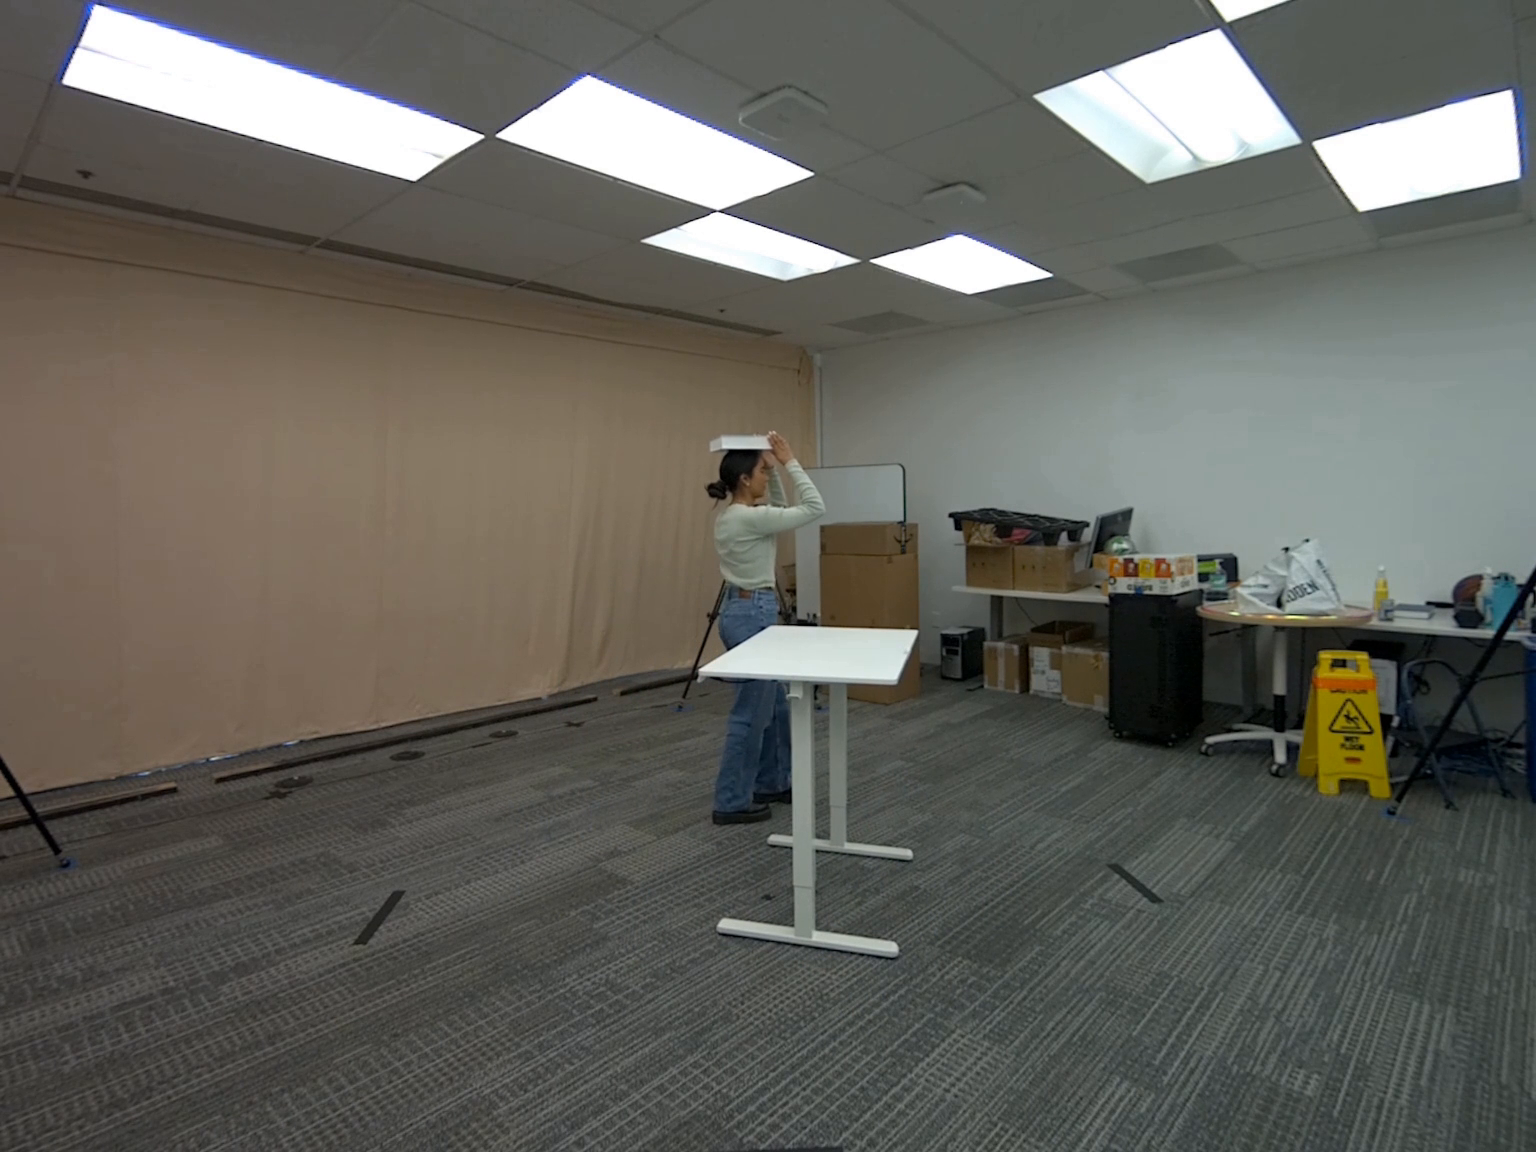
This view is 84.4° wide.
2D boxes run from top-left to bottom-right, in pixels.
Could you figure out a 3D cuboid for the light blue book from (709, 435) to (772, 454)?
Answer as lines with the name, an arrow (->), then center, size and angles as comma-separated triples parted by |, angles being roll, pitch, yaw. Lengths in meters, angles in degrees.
light blue book -> -0.097, -0.599, 3.781 | 0.257, 0.059, 0.194 | -2, 1, -15
